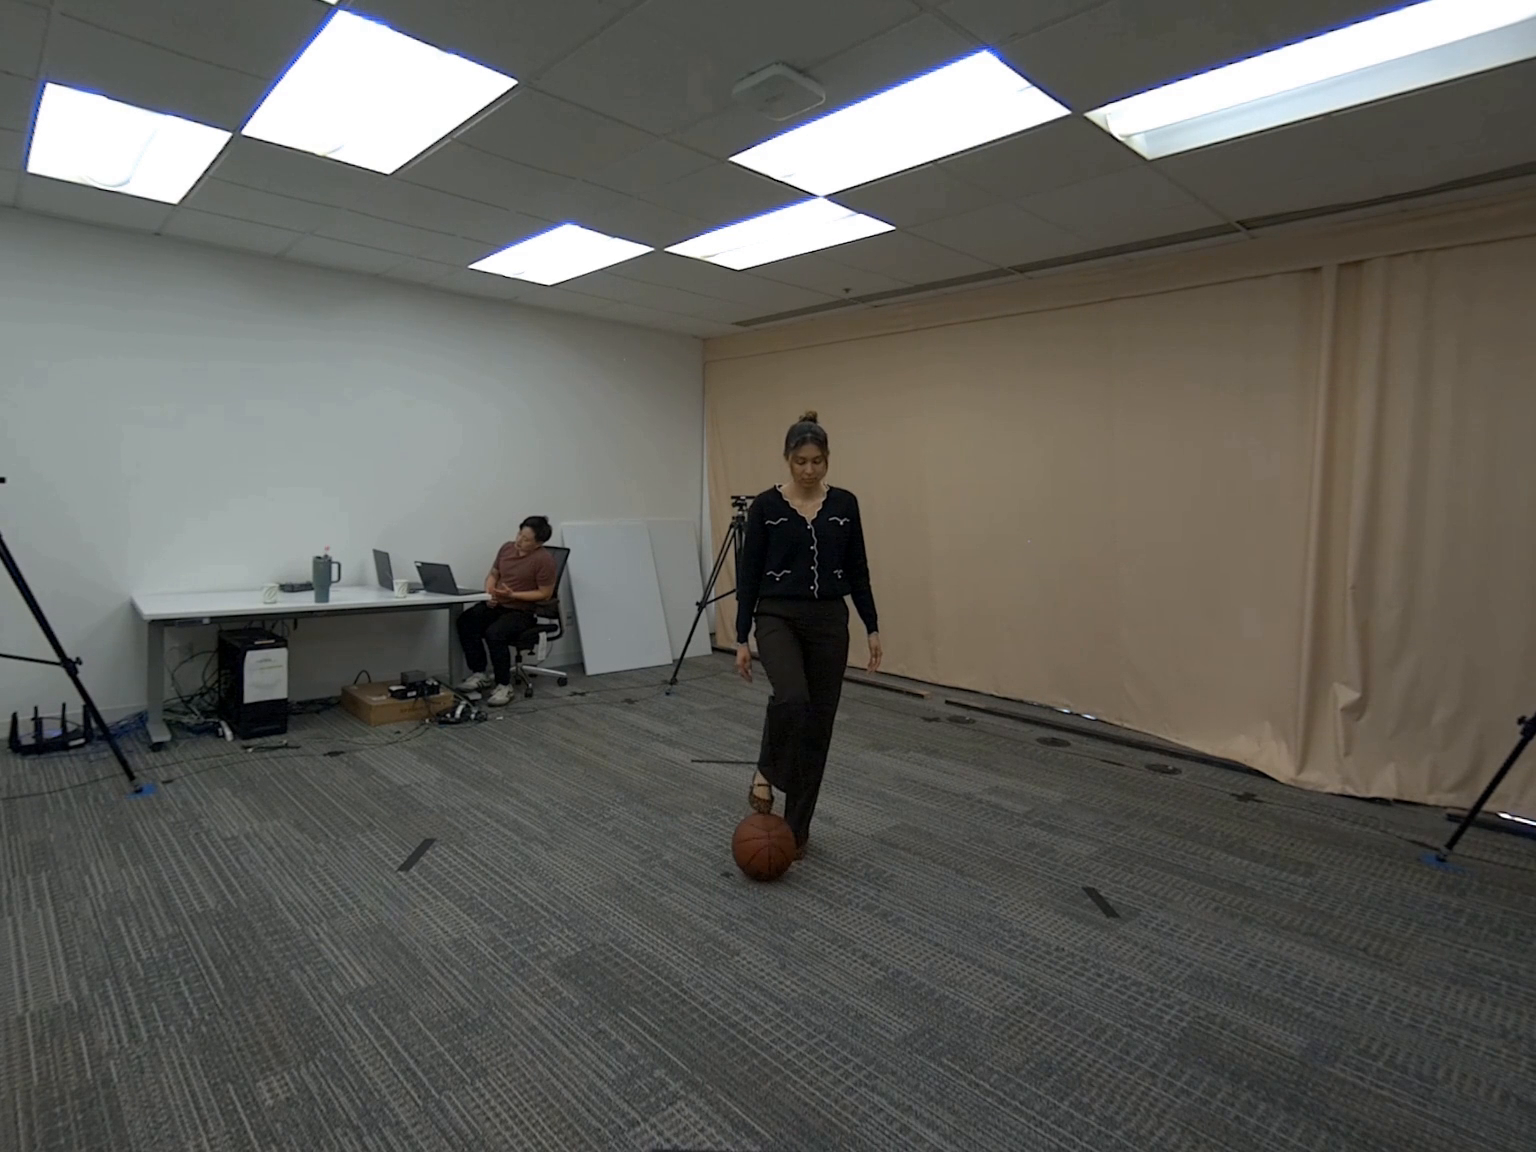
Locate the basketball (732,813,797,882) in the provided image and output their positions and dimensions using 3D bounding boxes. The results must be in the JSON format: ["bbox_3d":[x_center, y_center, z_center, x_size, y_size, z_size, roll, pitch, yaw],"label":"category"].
[{"bbox_3d":[-0.021,0.991,3.071,0.236,0.235,0.237,1,4,-1],"label":"basketball"}]
